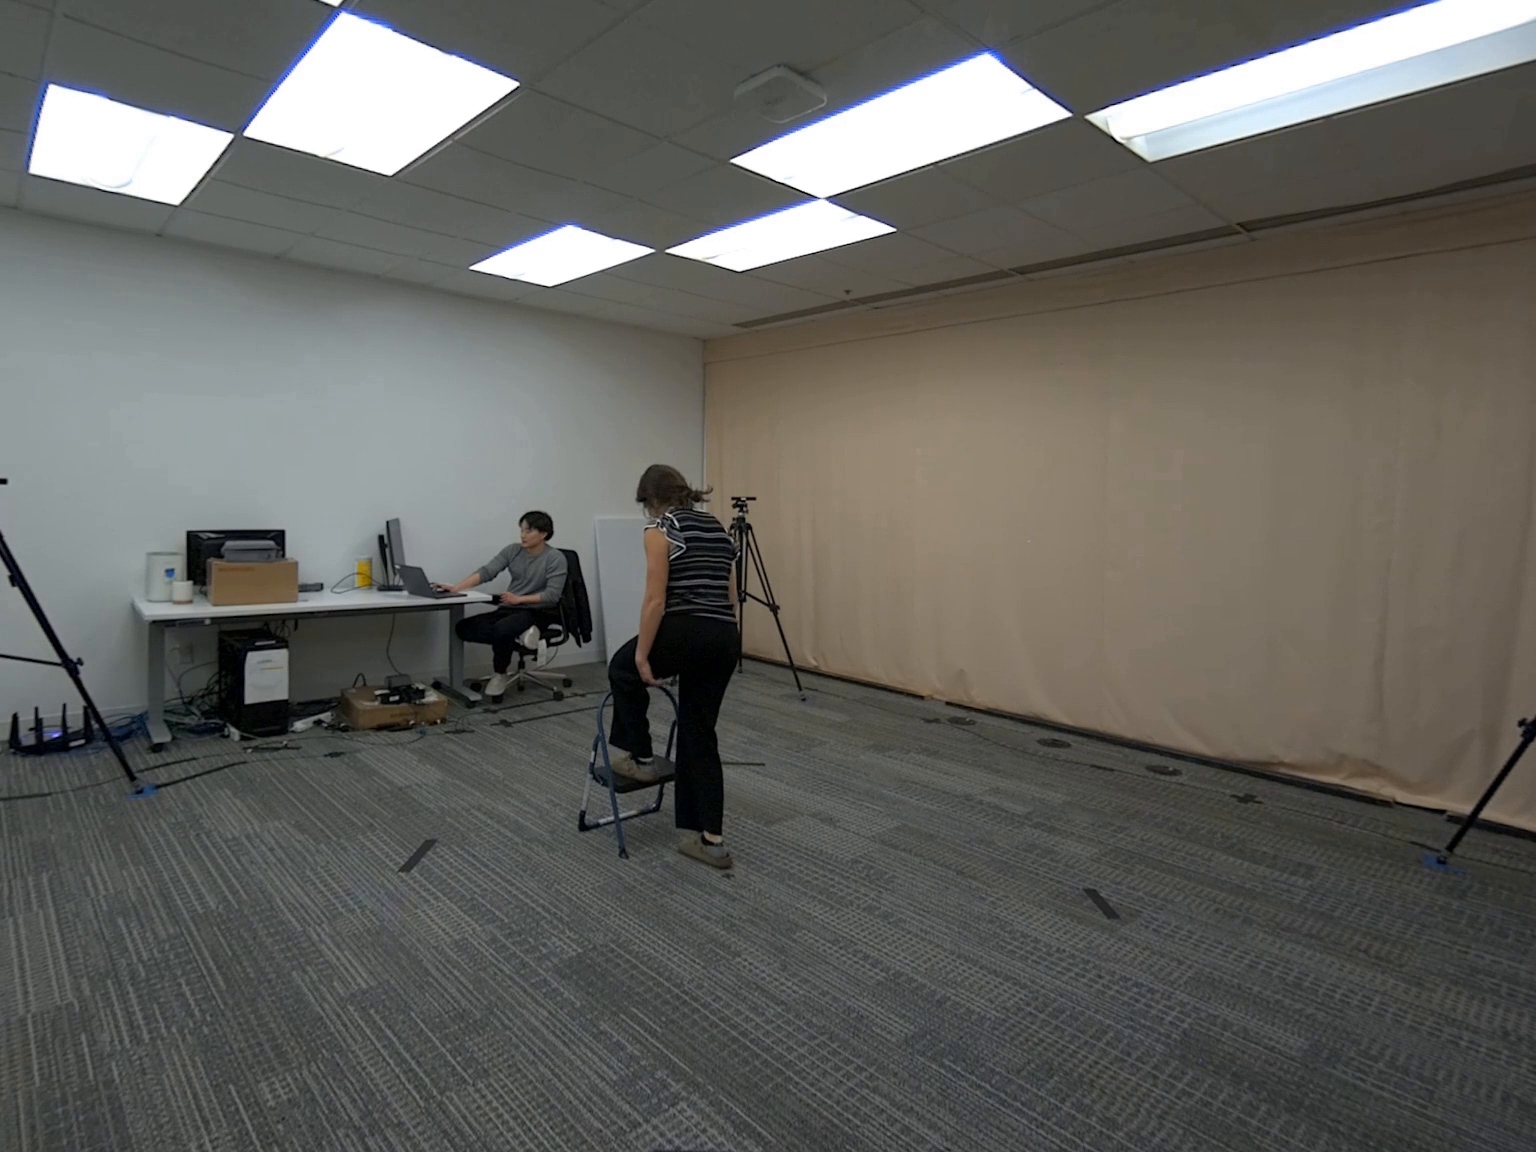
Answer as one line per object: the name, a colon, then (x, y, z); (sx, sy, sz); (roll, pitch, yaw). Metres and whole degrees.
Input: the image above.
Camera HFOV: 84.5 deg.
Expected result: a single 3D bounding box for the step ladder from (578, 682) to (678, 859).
step ladder: (-0.524, 0.765, 3.489); (0.421, 0.605, 0.358); (-2, 5, -43)
